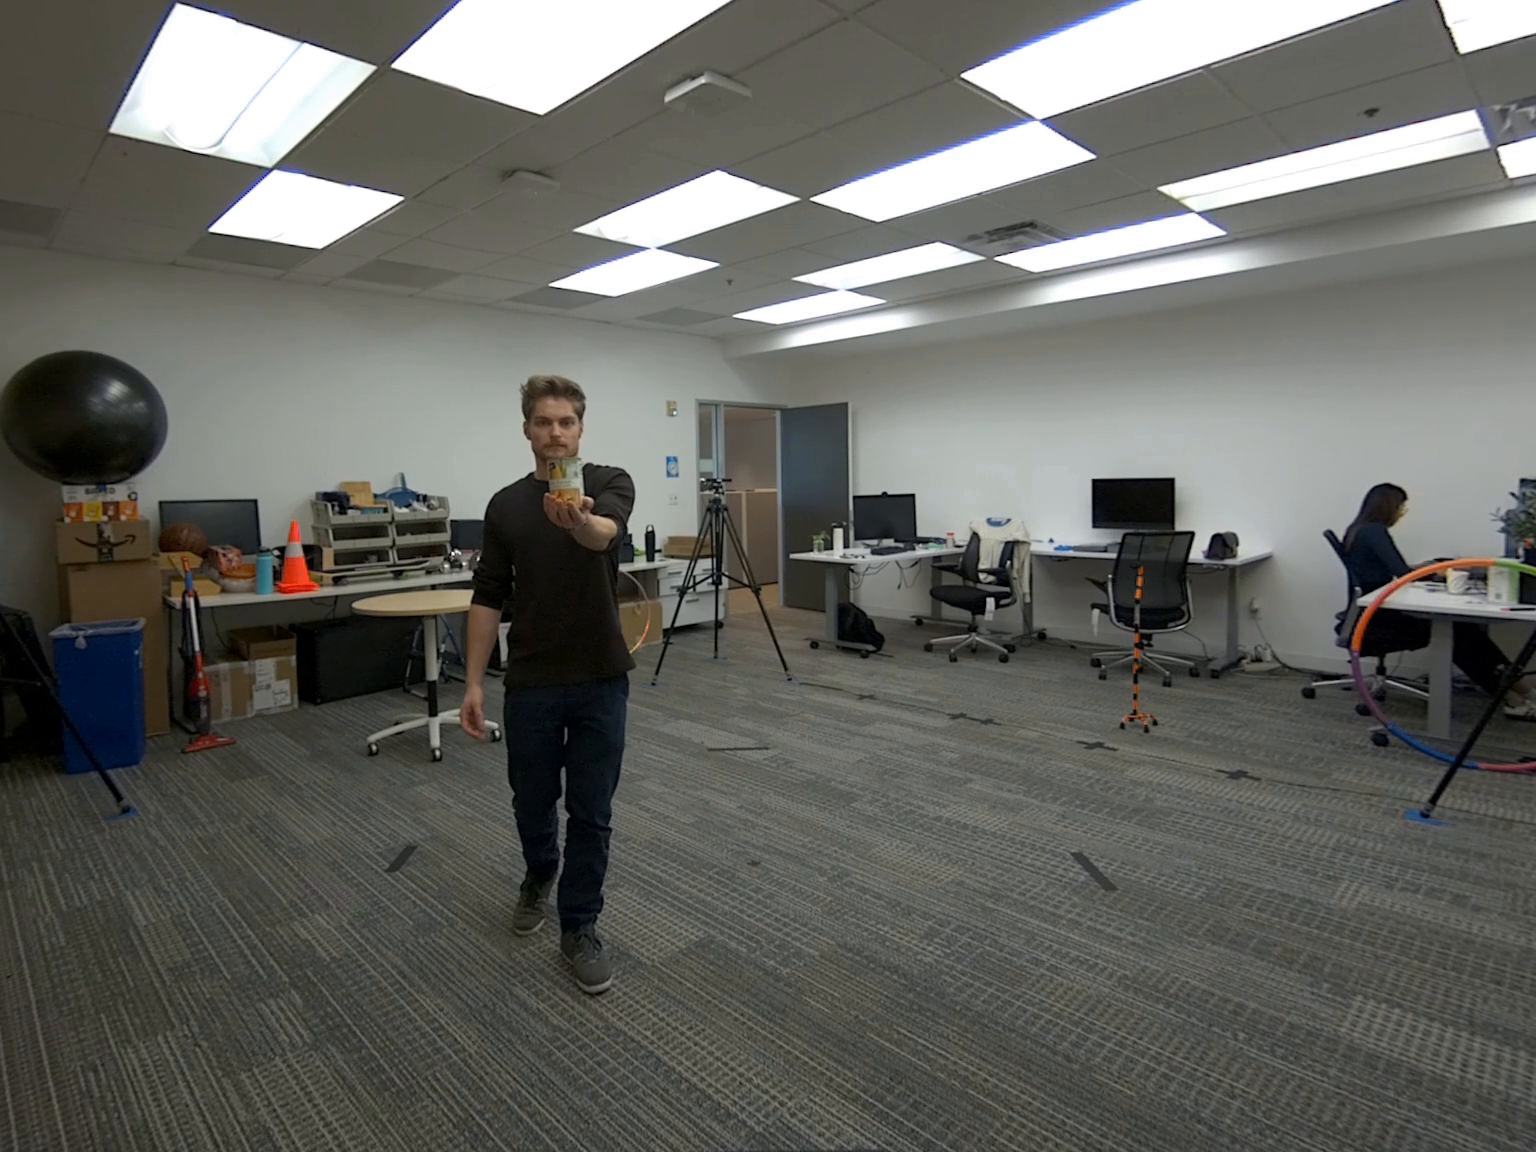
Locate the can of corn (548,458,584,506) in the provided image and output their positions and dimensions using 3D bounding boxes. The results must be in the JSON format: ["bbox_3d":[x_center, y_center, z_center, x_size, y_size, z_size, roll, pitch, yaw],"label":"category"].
[{"bbox_3d":[-0.446,-0.202,1.895,0.074,0.111,0.074,-4,2,-2],"label":"can of corn"}]
